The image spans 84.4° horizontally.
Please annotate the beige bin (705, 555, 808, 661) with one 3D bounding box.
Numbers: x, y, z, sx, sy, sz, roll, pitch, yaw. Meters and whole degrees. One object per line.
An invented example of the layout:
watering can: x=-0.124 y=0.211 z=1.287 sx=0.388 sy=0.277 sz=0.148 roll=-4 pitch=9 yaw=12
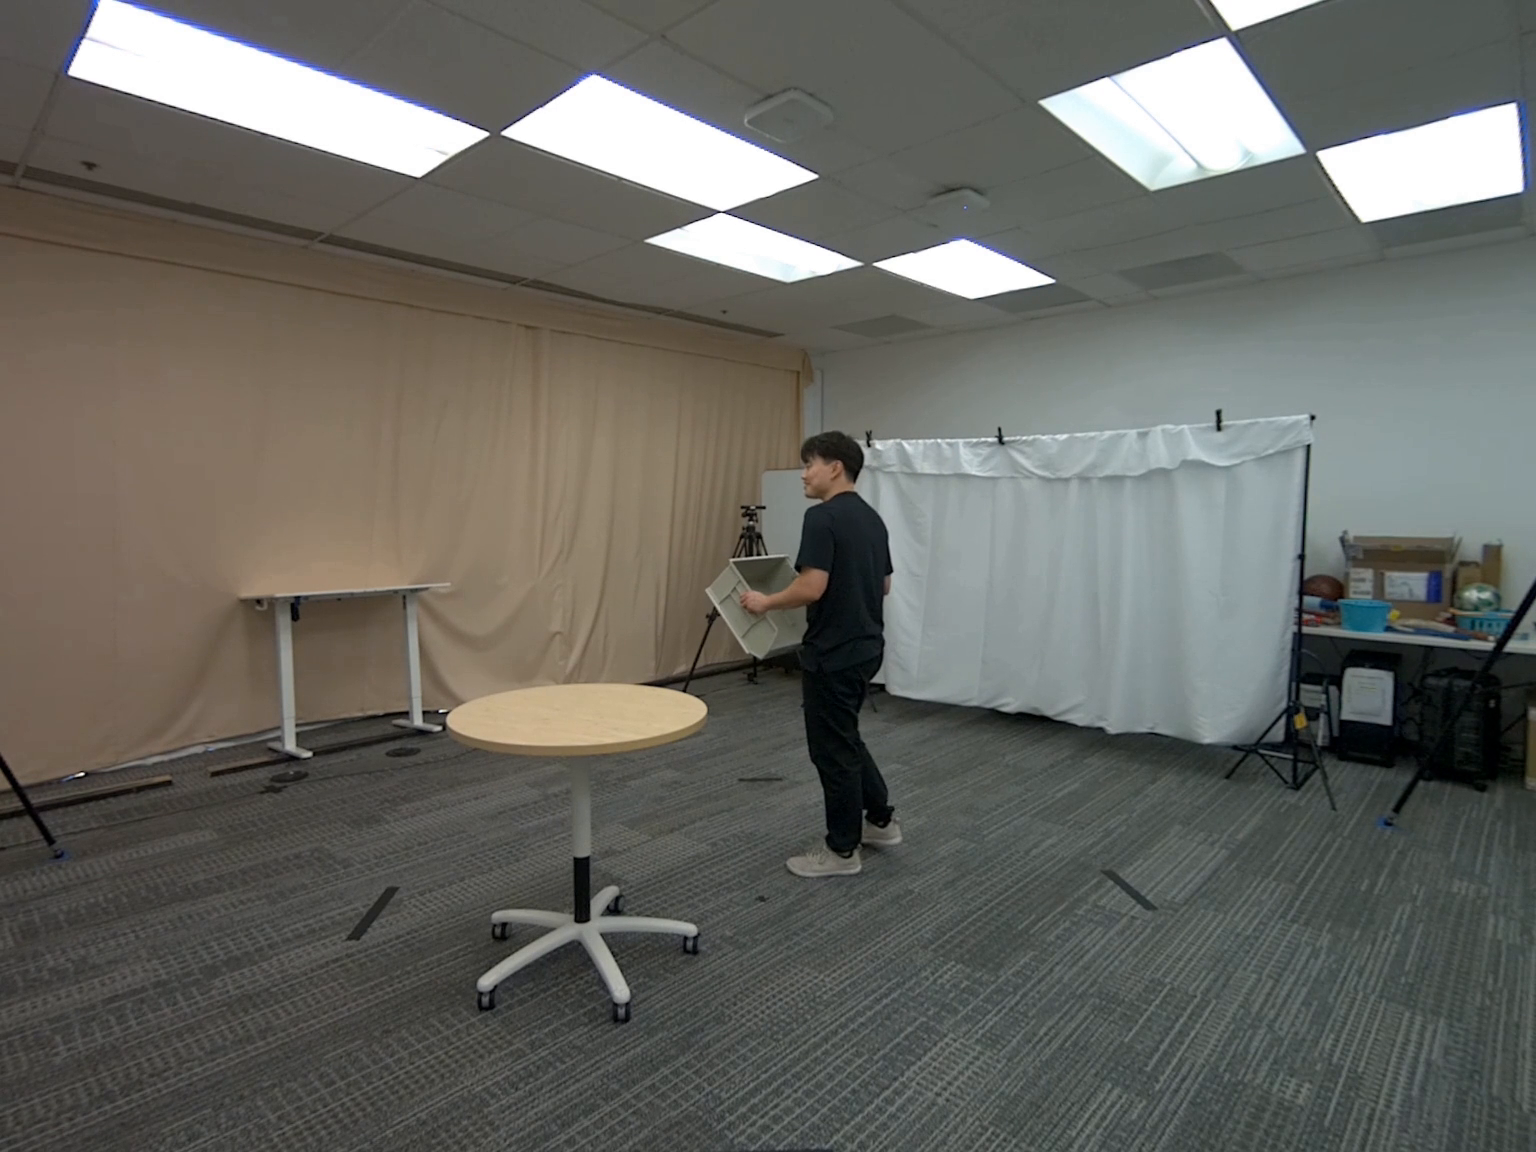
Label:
beige bin: x=0.020 y=0.125 z=3.398 sx=0.190 sy=0.386 sz=0.410 roll=-48 pitch=-24 yaw=28
